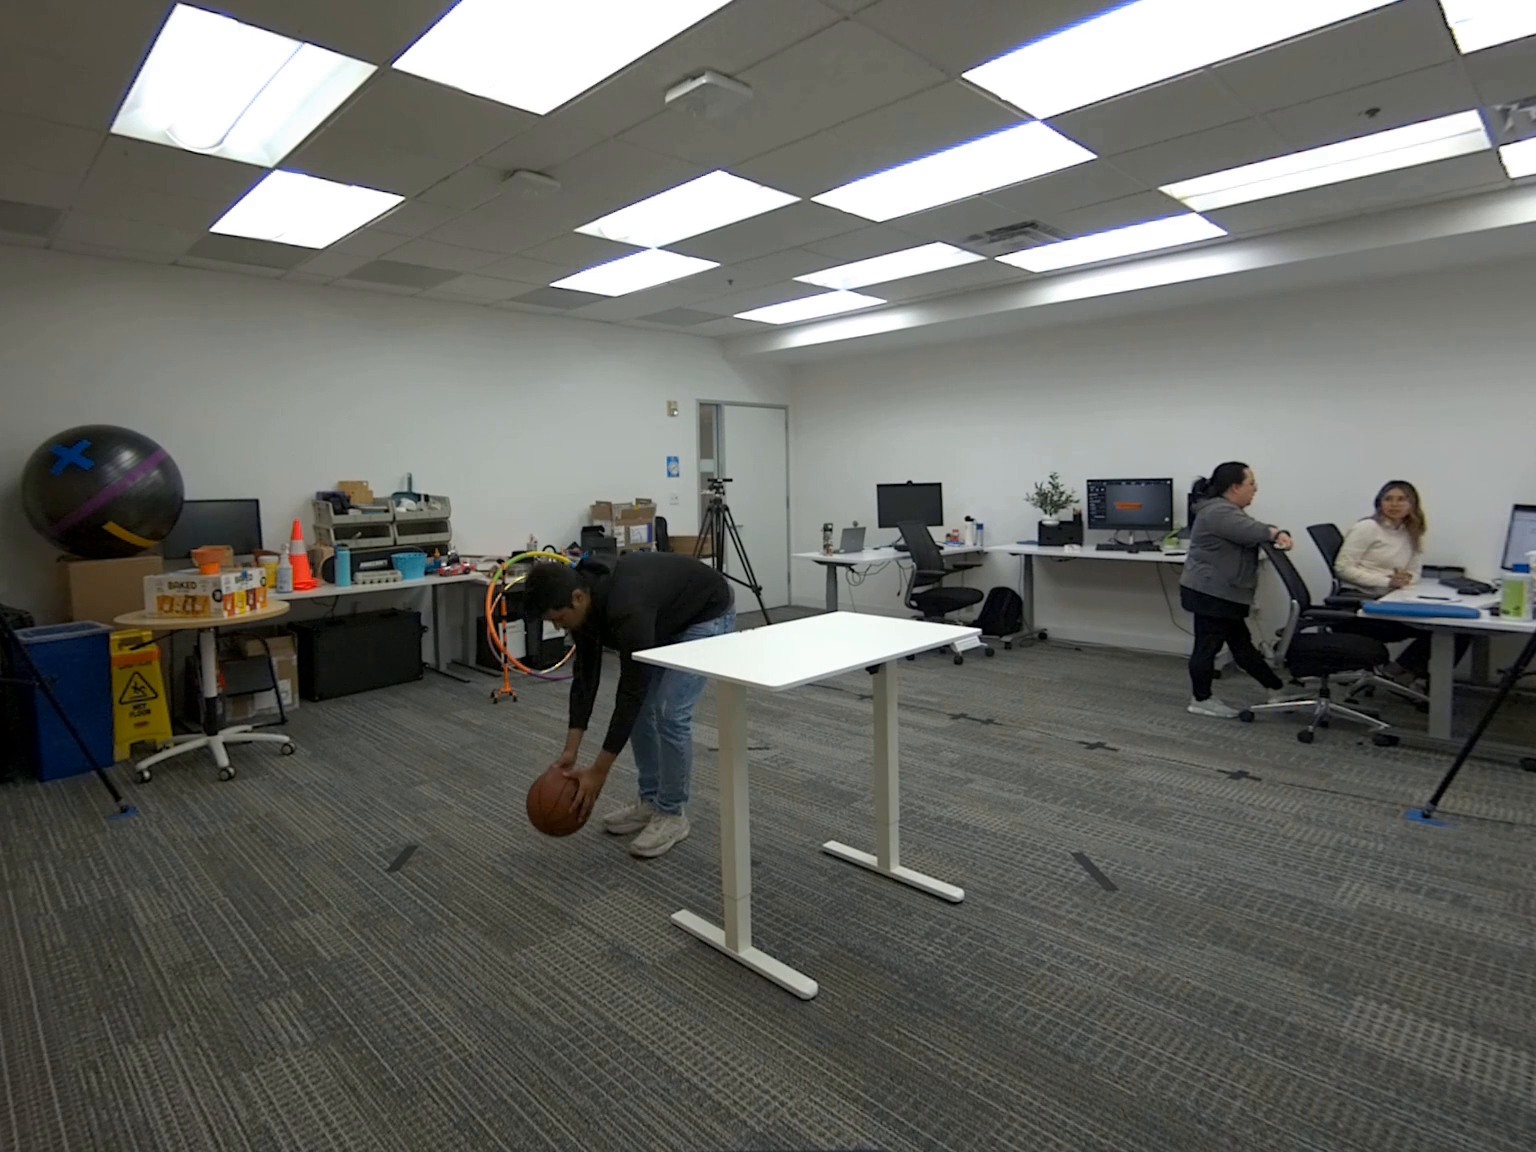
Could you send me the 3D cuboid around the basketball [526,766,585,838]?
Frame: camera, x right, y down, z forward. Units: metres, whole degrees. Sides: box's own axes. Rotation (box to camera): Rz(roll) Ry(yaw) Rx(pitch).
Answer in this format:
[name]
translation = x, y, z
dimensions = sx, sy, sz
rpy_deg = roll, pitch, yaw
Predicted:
[basketball]
translation = -0.753, 0.794, 3.100
dimensions = 0.236, 0.235, 0.237
rpy_deg = -1, 5, -2
